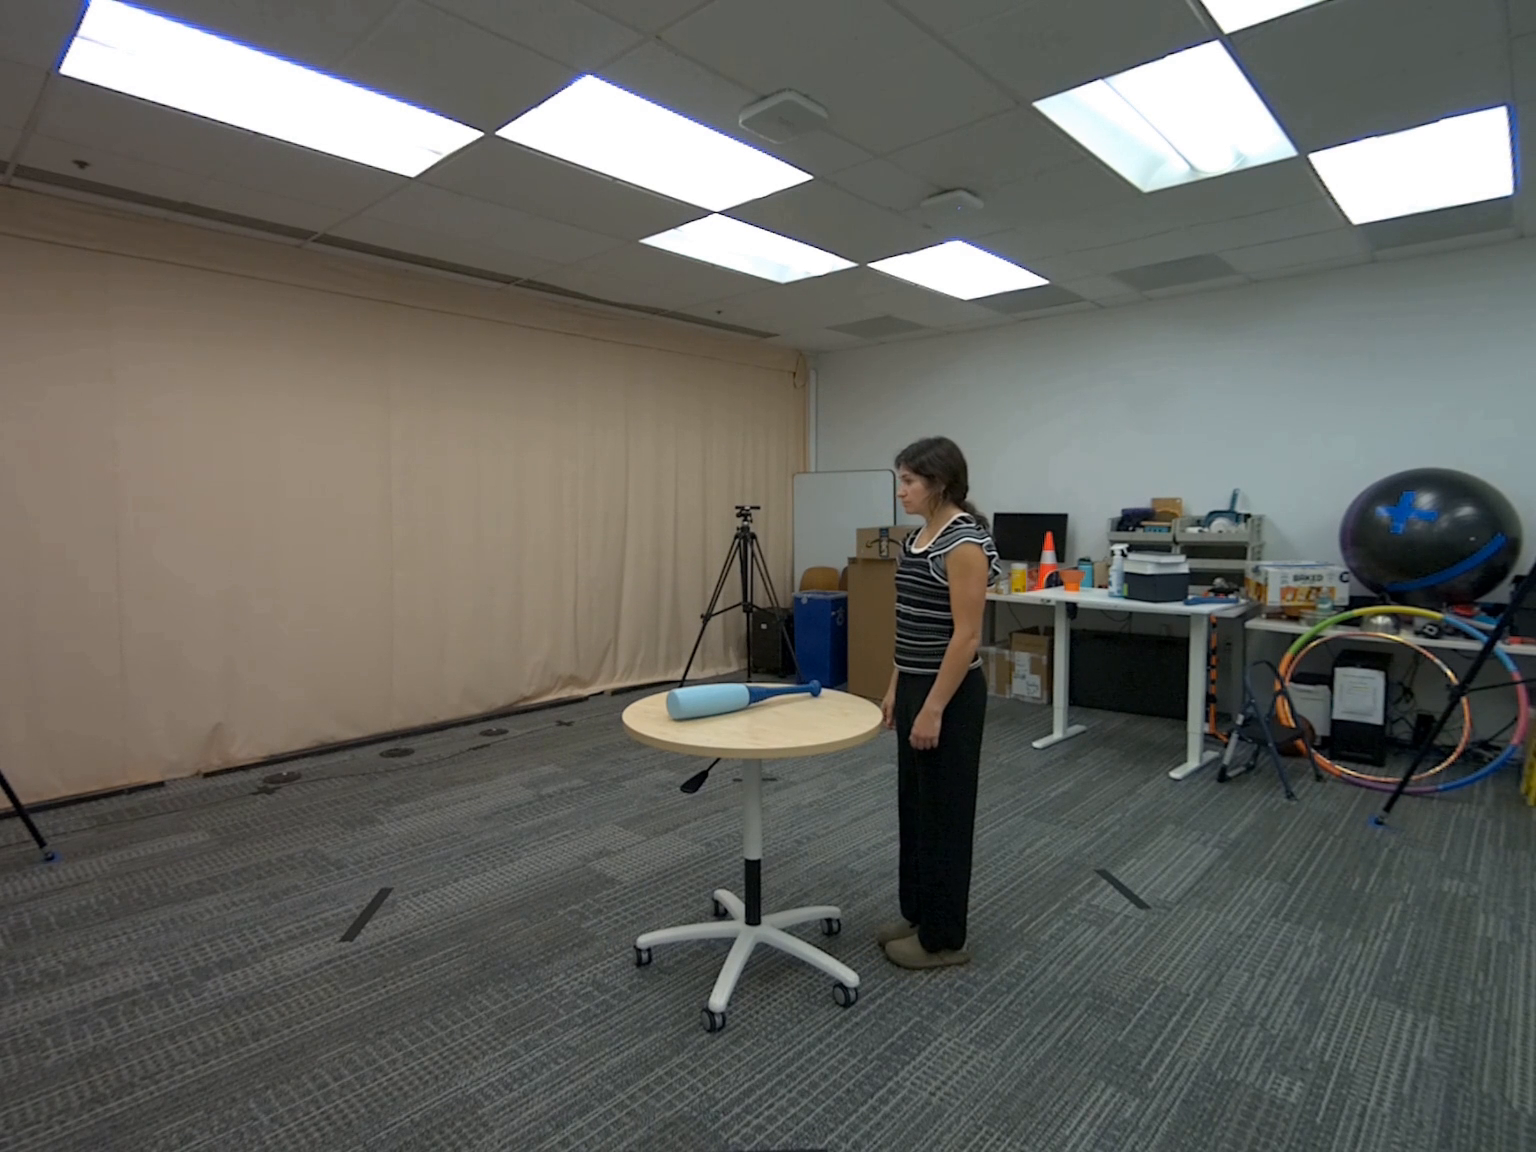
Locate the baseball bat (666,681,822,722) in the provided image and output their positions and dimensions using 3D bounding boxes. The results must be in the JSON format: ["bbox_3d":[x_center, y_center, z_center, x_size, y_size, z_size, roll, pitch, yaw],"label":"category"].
[{"bbox_3d":[-0.051,0.367,2.539,0.527,0.089,0.092,0,3,-33],"label":"baseball bat"}]
